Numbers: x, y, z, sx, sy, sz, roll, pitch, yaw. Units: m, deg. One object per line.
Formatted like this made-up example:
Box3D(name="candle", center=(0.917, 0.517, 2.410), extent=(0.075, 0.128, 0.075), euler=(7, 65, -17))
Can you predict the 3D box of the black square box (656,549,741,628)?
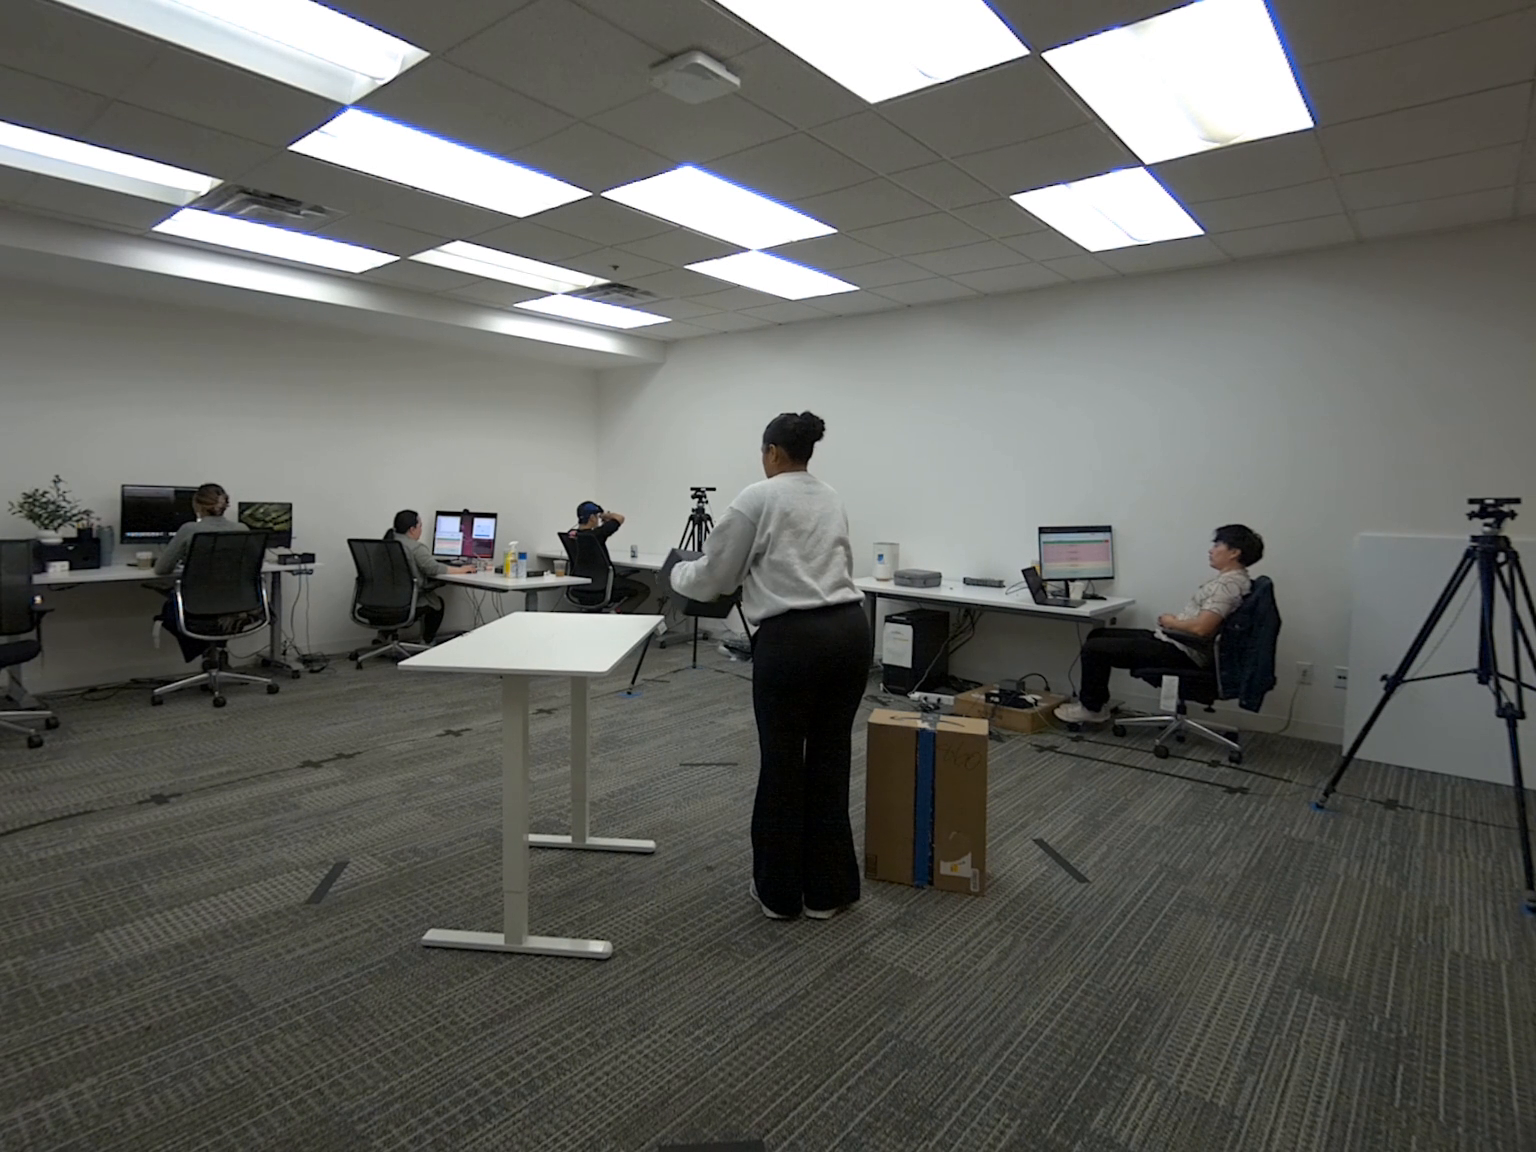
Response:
Box3D(name="black square box", center=(-0.256, 0.041, 3.190), extent=(0.220, 0.155, 0.226), euler=(8, 26, -45))
